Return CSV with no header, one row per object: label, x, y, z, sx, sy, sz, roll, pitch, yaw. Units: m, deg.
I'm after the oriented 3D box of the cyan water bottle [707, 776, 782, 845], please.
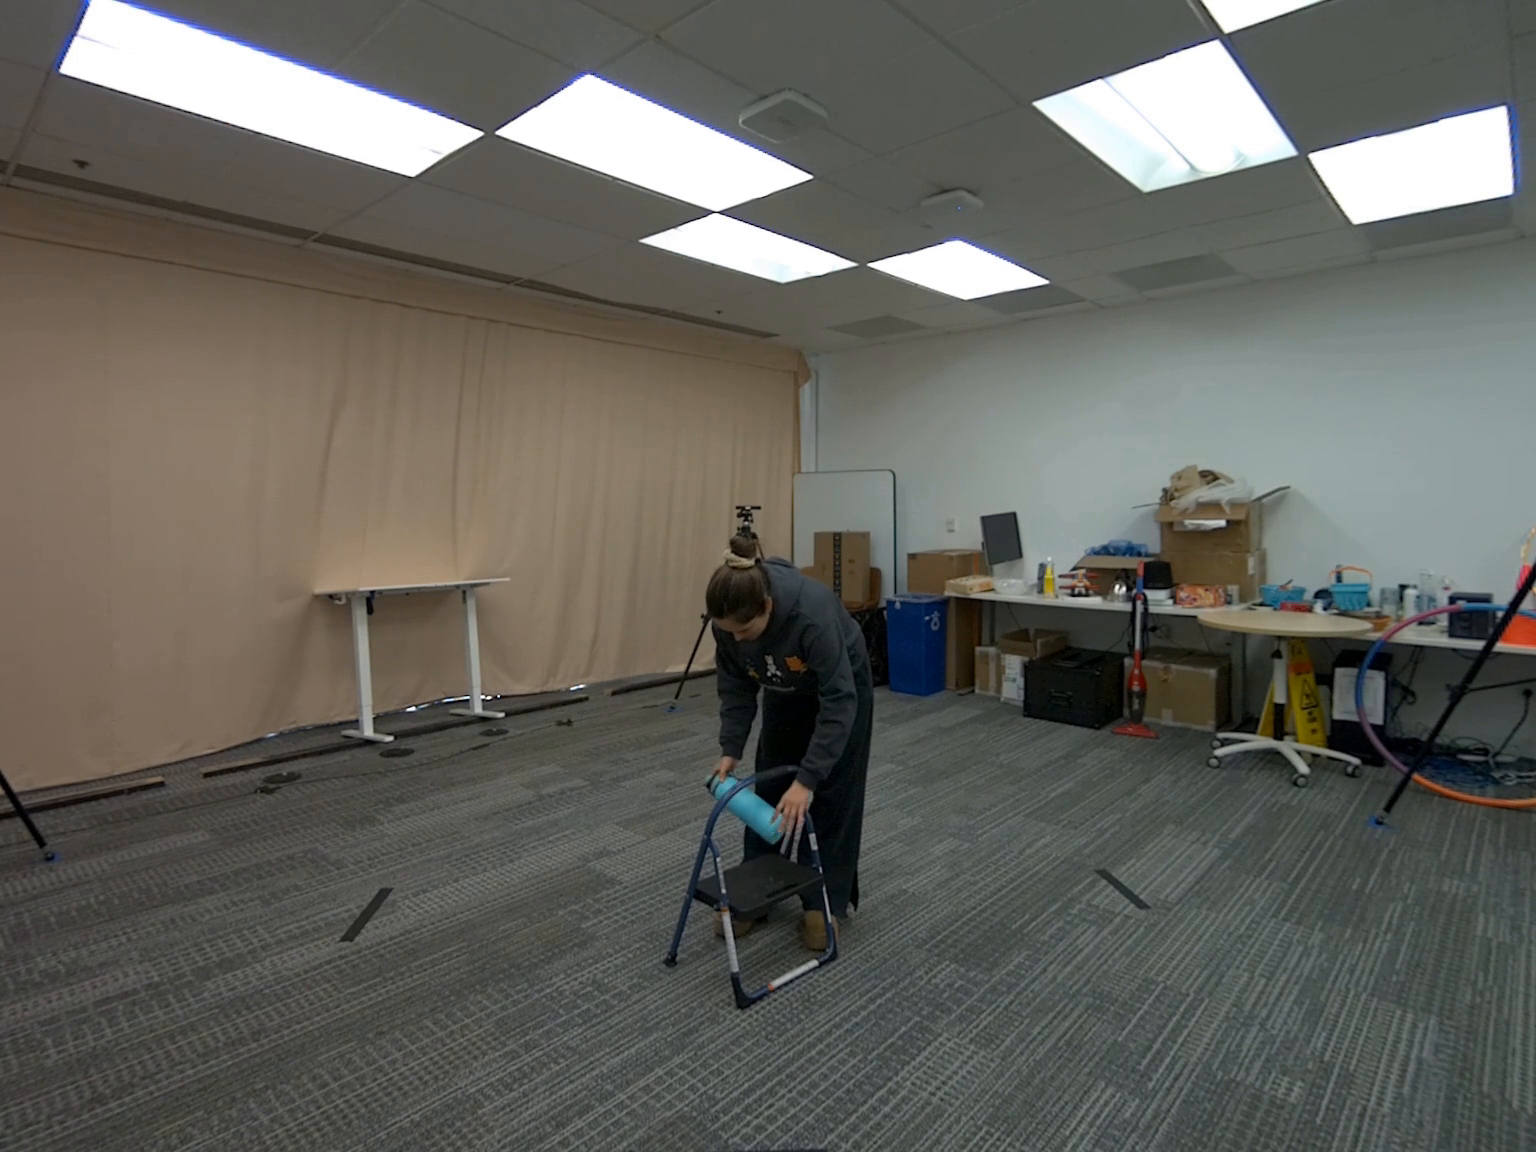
cyan water bottle,-0.070,0.680,2.586,0.292,0.092,0.090,31,18,27
